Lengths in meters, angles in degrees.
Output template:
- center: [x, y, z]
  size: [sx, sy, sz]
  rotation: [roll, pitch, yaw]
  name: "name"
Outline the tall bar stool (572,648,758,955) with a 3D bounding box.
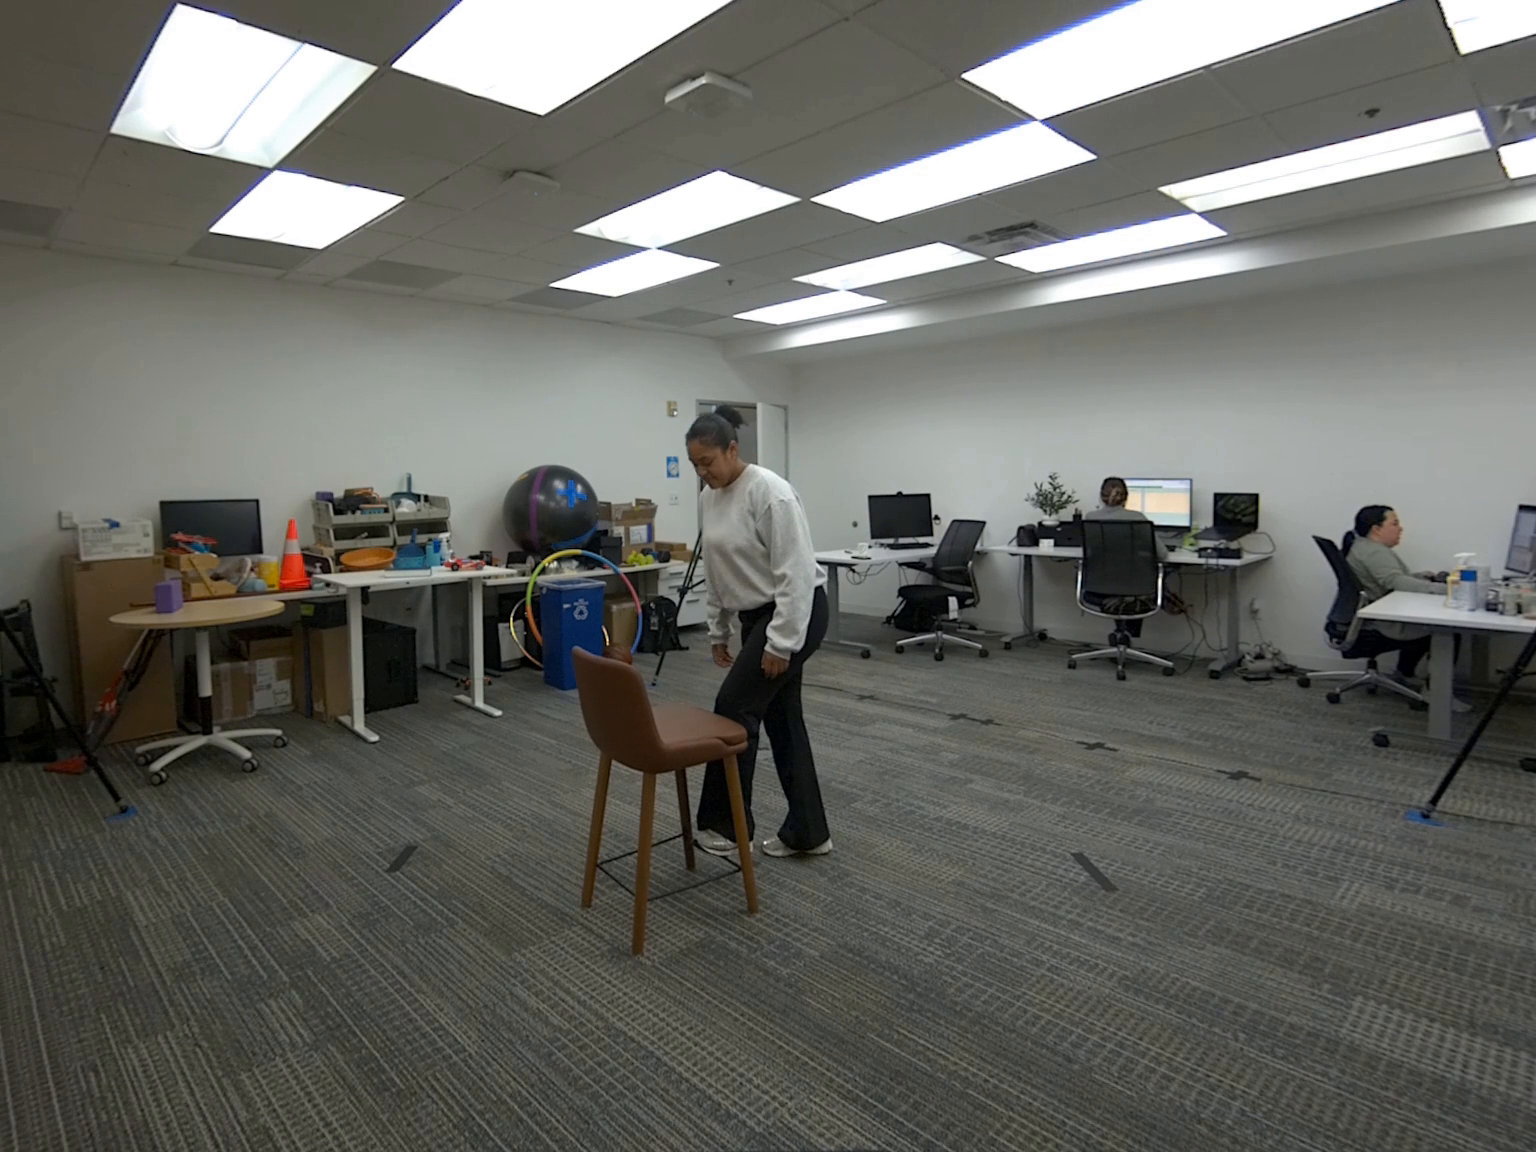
- center: [-0.335, 0.653, 2.762]
  size: [0.456, 0.885, 0.470]
  rotation: [-6, 7, -36]
  name: "tall bar stool"
